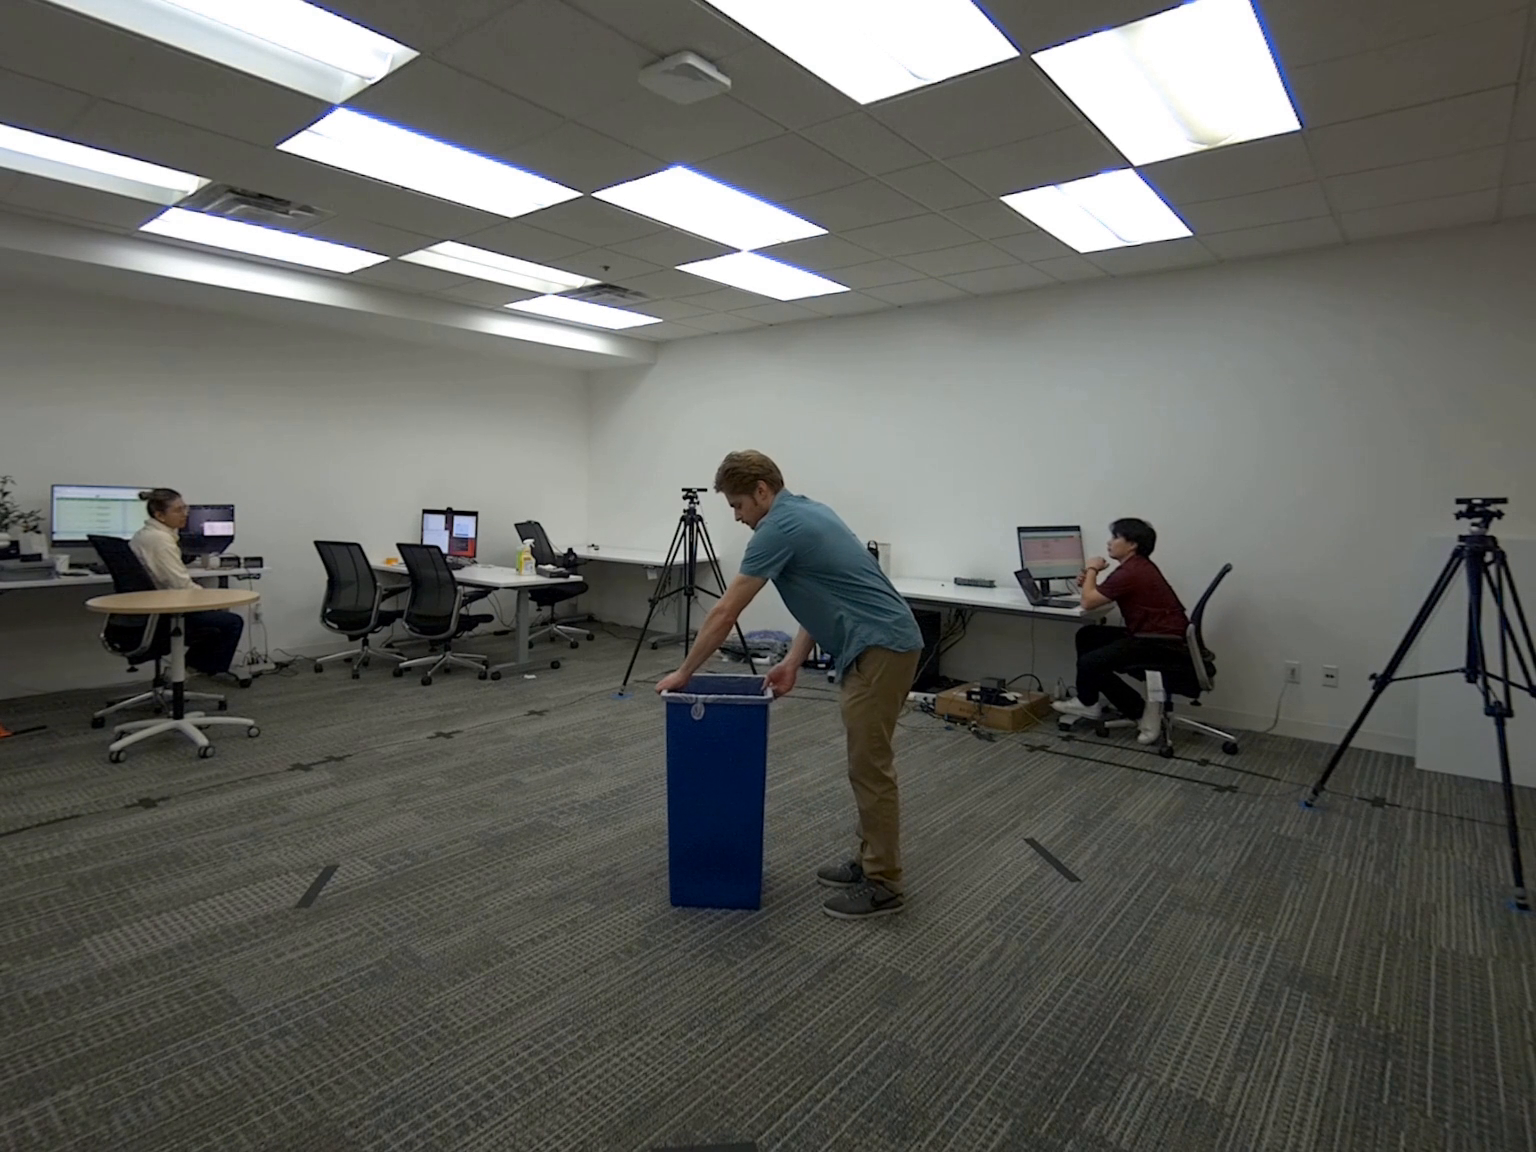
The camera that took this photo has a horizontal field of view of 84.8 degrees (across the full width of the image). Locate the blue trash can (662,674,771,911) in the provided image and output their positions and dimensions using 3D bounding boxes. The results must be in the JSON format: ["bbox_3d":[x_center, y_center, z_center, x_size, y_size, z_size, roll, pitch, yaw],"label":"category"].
[{"bbox_3d":[-0.173,0.727,2.959,0.375,0.712,0.378,-1,2,1],"label":"blue trash can"}]
